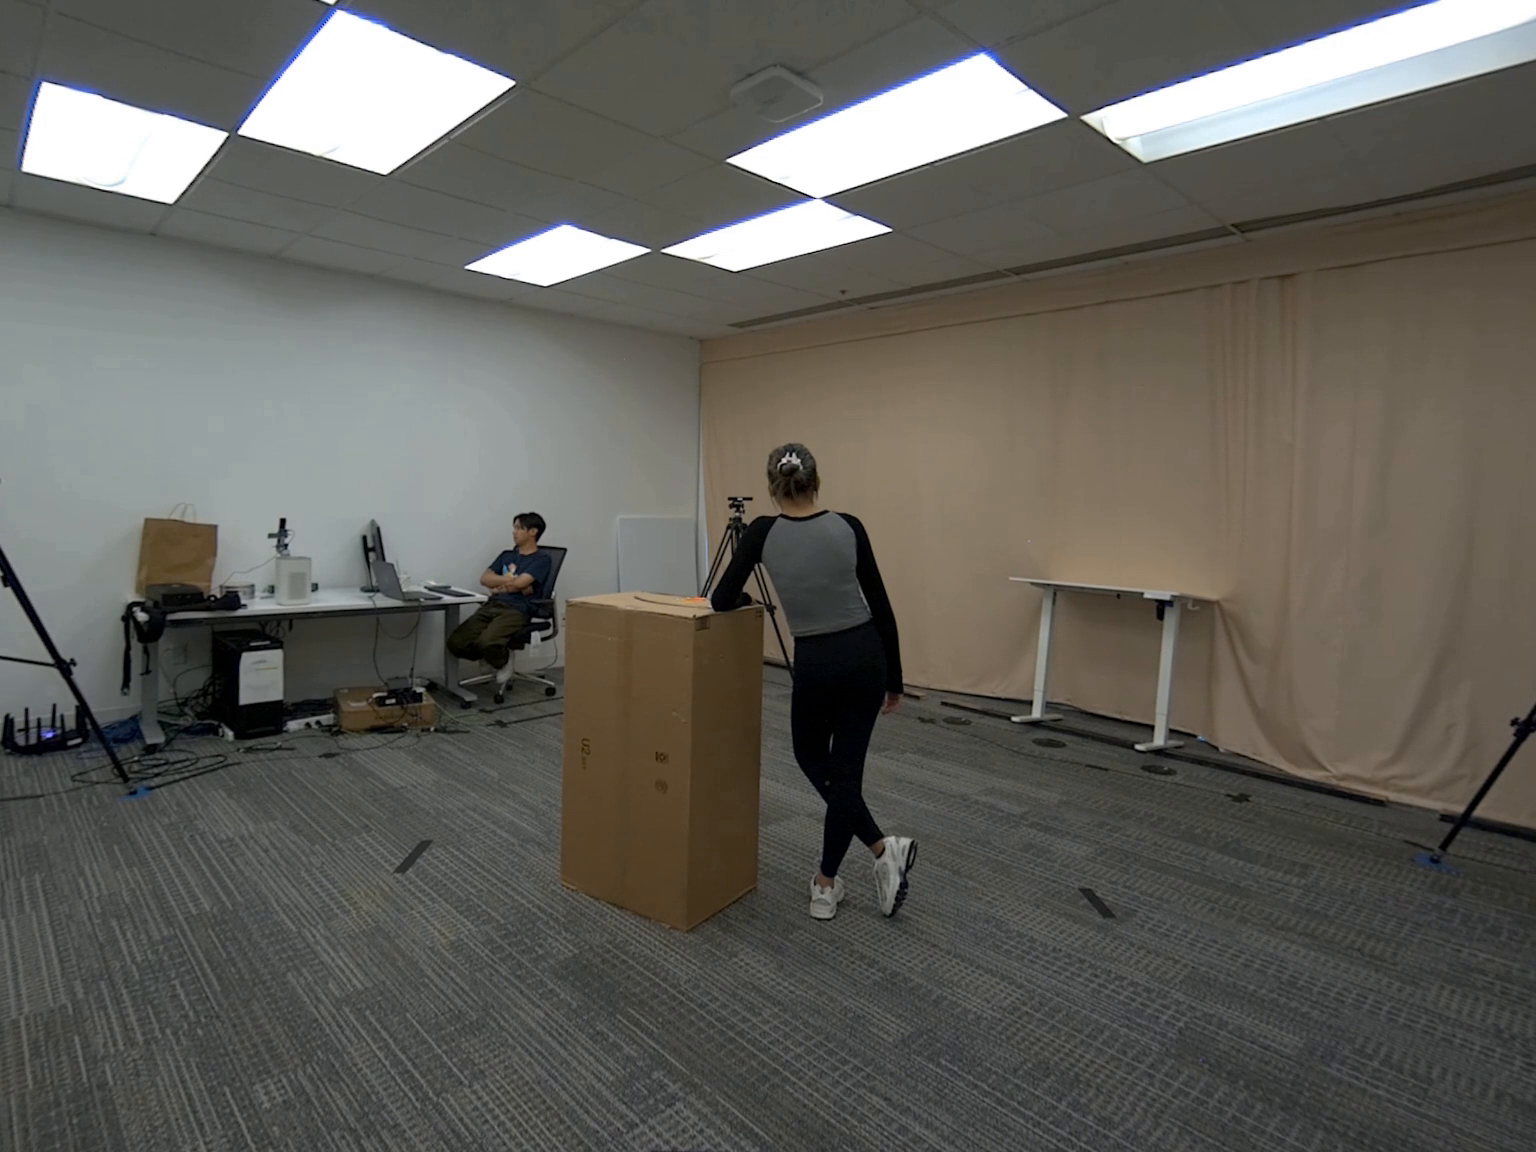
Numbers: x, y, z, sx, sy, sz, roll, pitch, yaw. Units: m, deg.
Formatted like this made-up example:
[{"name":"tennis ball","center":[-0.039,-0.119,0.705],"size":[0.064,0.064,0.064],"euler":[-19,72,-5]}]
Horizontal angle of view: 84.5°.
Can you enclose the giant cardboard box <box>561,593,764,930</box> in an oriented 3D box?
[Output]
[{"name":"giant cardboard box","center":[-0.385,0.603,3.000],"size":[0.591,1.023,0.417],"euler":[4,4,34]}]
